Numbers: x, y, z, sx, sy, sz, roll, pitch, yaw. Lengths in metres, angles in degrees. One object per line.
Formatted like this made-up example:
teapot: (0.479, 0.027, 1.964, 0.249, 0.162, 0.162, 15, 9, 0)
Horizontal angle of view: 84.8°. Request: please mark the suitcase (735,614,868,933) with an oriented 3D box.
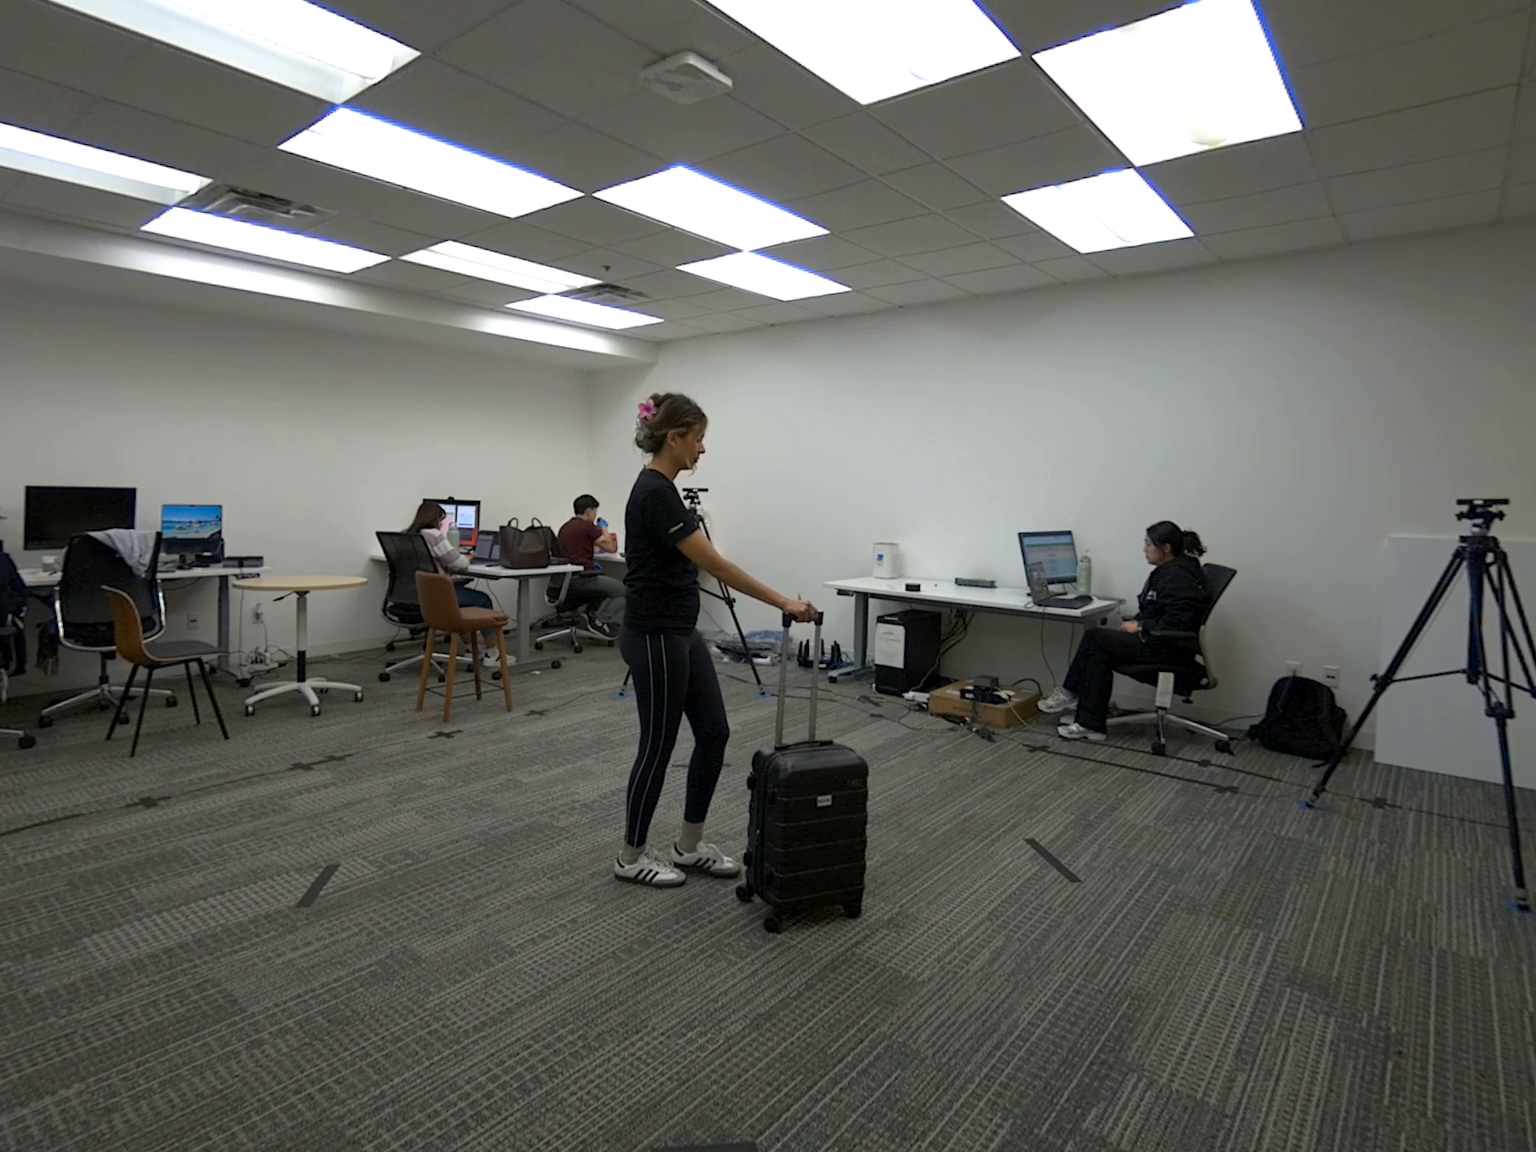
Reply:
suitcase: (0.141, 0.630, 2.800, 0.375, 0.975, 0.264, 2, 5, -22)
